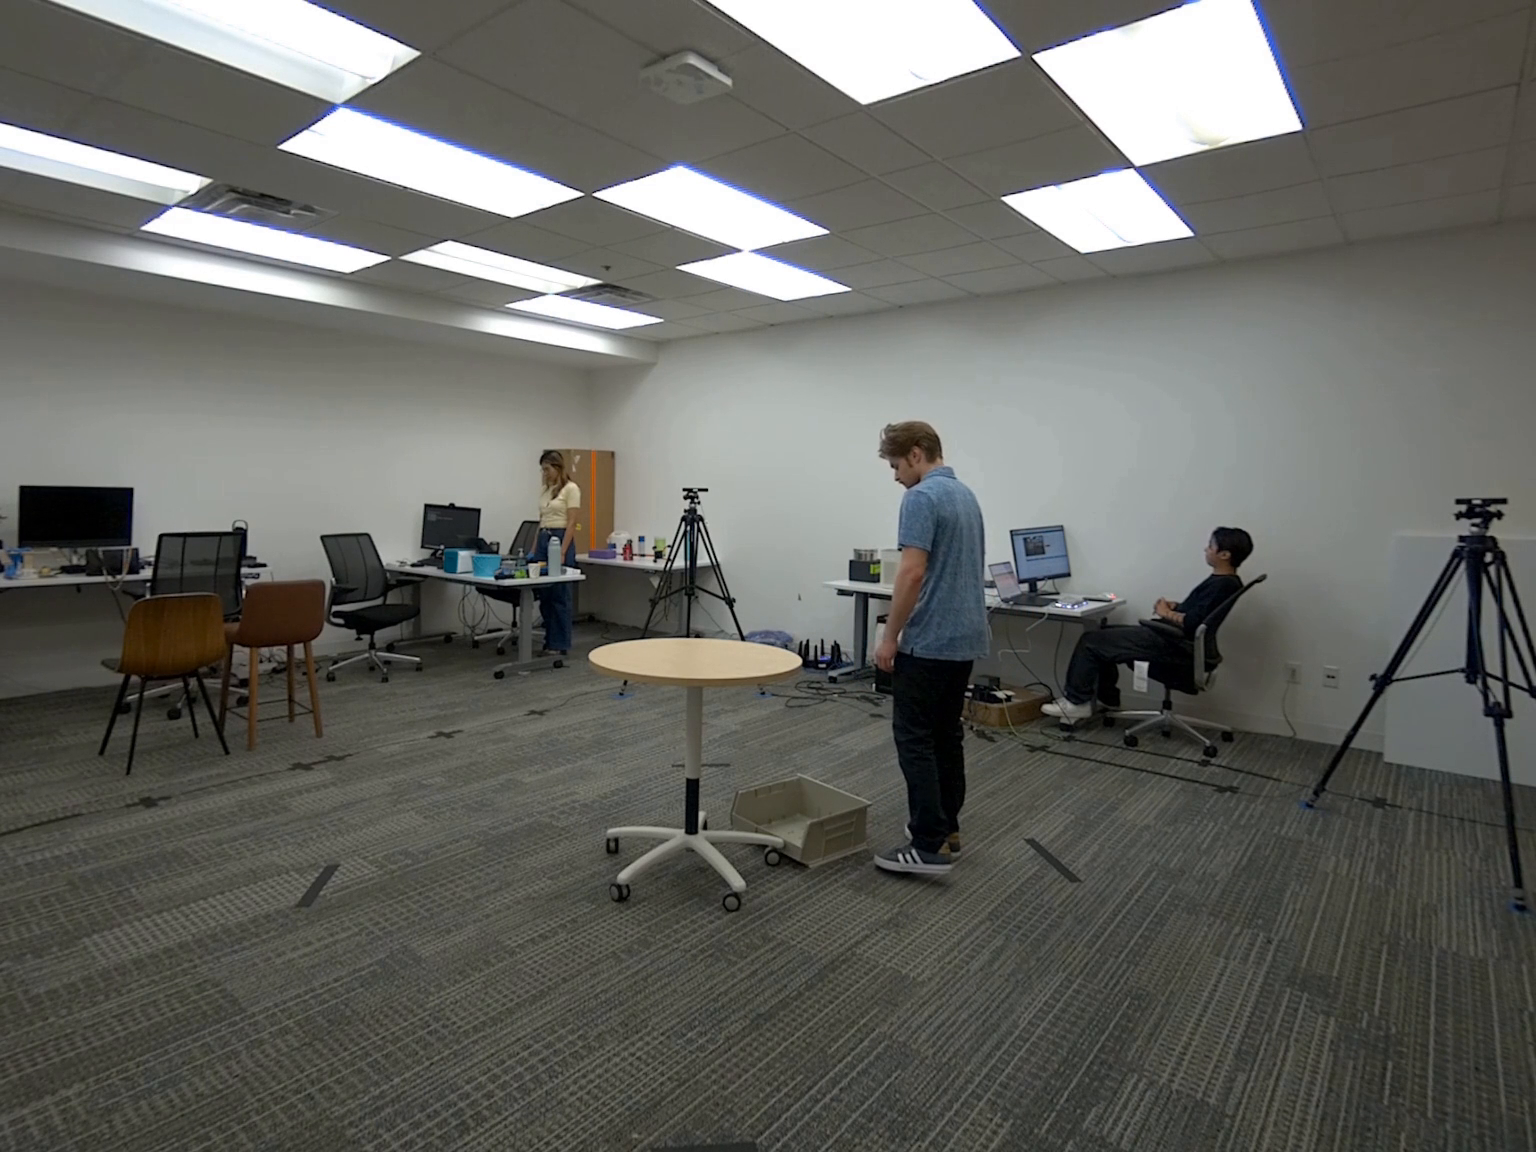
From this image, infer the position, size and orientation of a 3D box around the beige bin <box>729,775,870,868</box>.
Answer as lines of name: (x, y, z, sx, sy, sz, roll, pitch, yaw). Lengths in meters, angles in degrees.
beige bin: (0.122, 0.964, 3.378, 0.366, 0.188, 0.437, -3, 6, -40)
